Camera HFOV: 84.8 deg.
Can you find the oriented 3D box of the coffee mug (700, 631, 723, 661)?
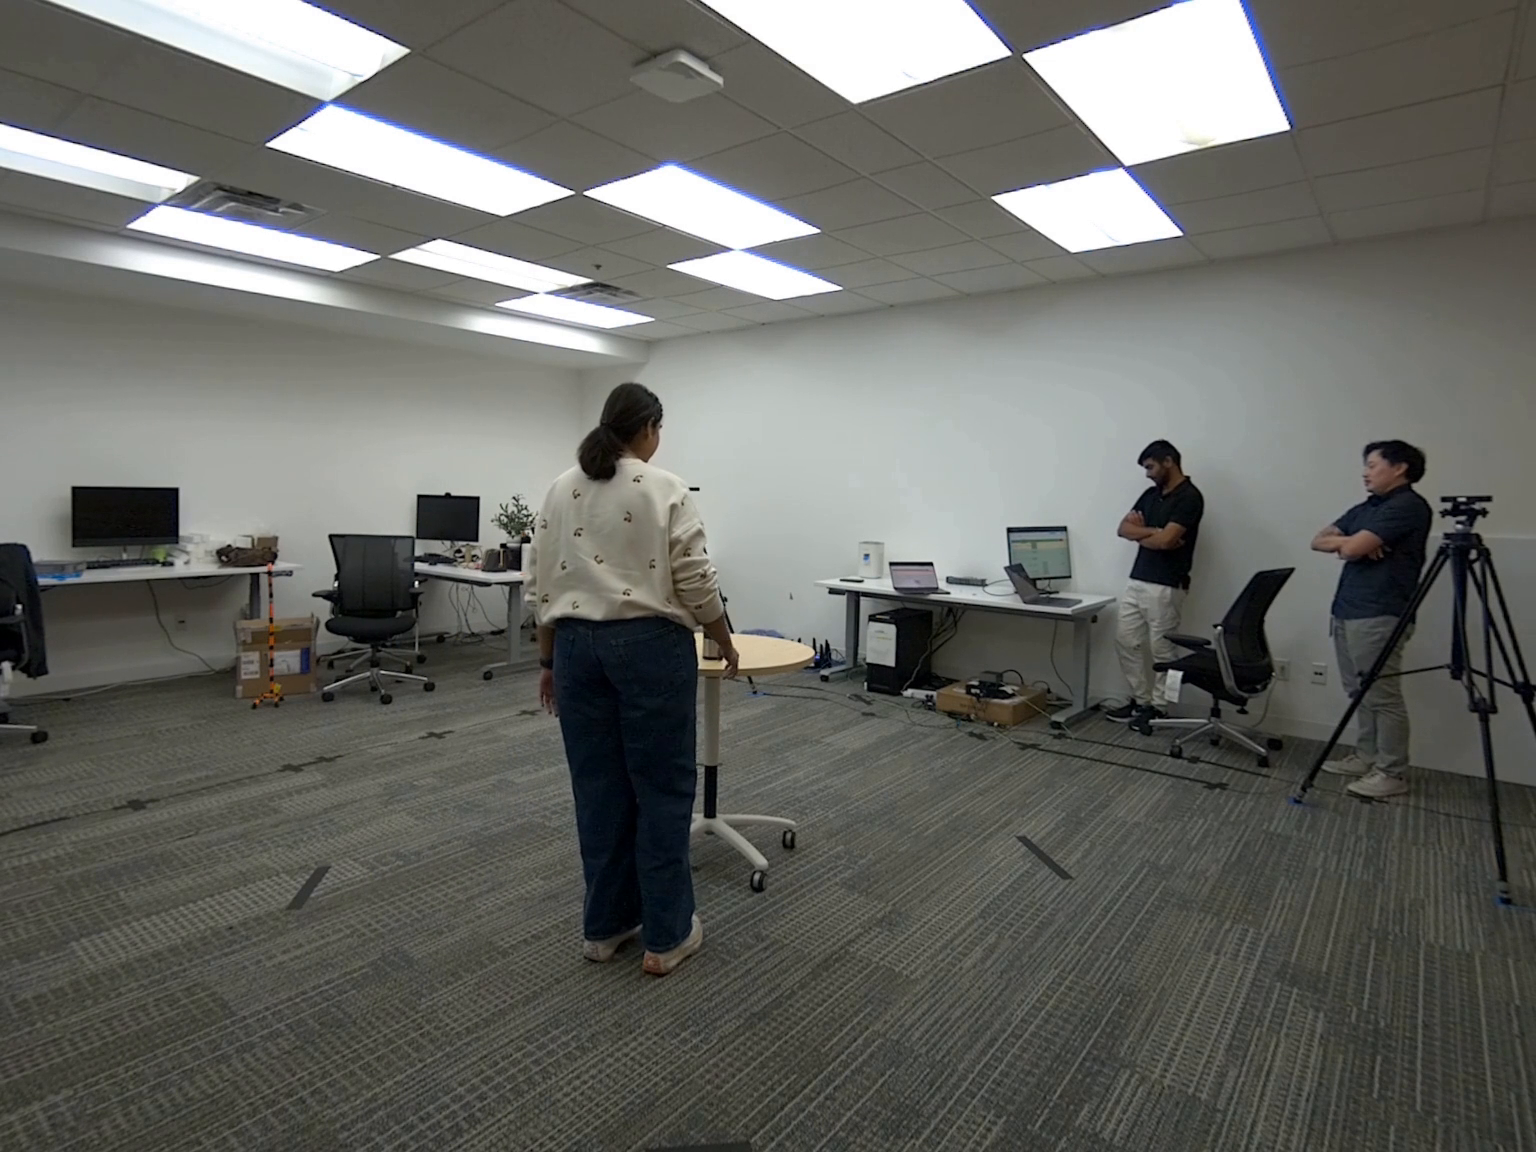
[{"bbox_3d":[-0.216,0.193,2.998,0.091,0.202,0.118,6,4,33],"label":"coffee mug"}]
